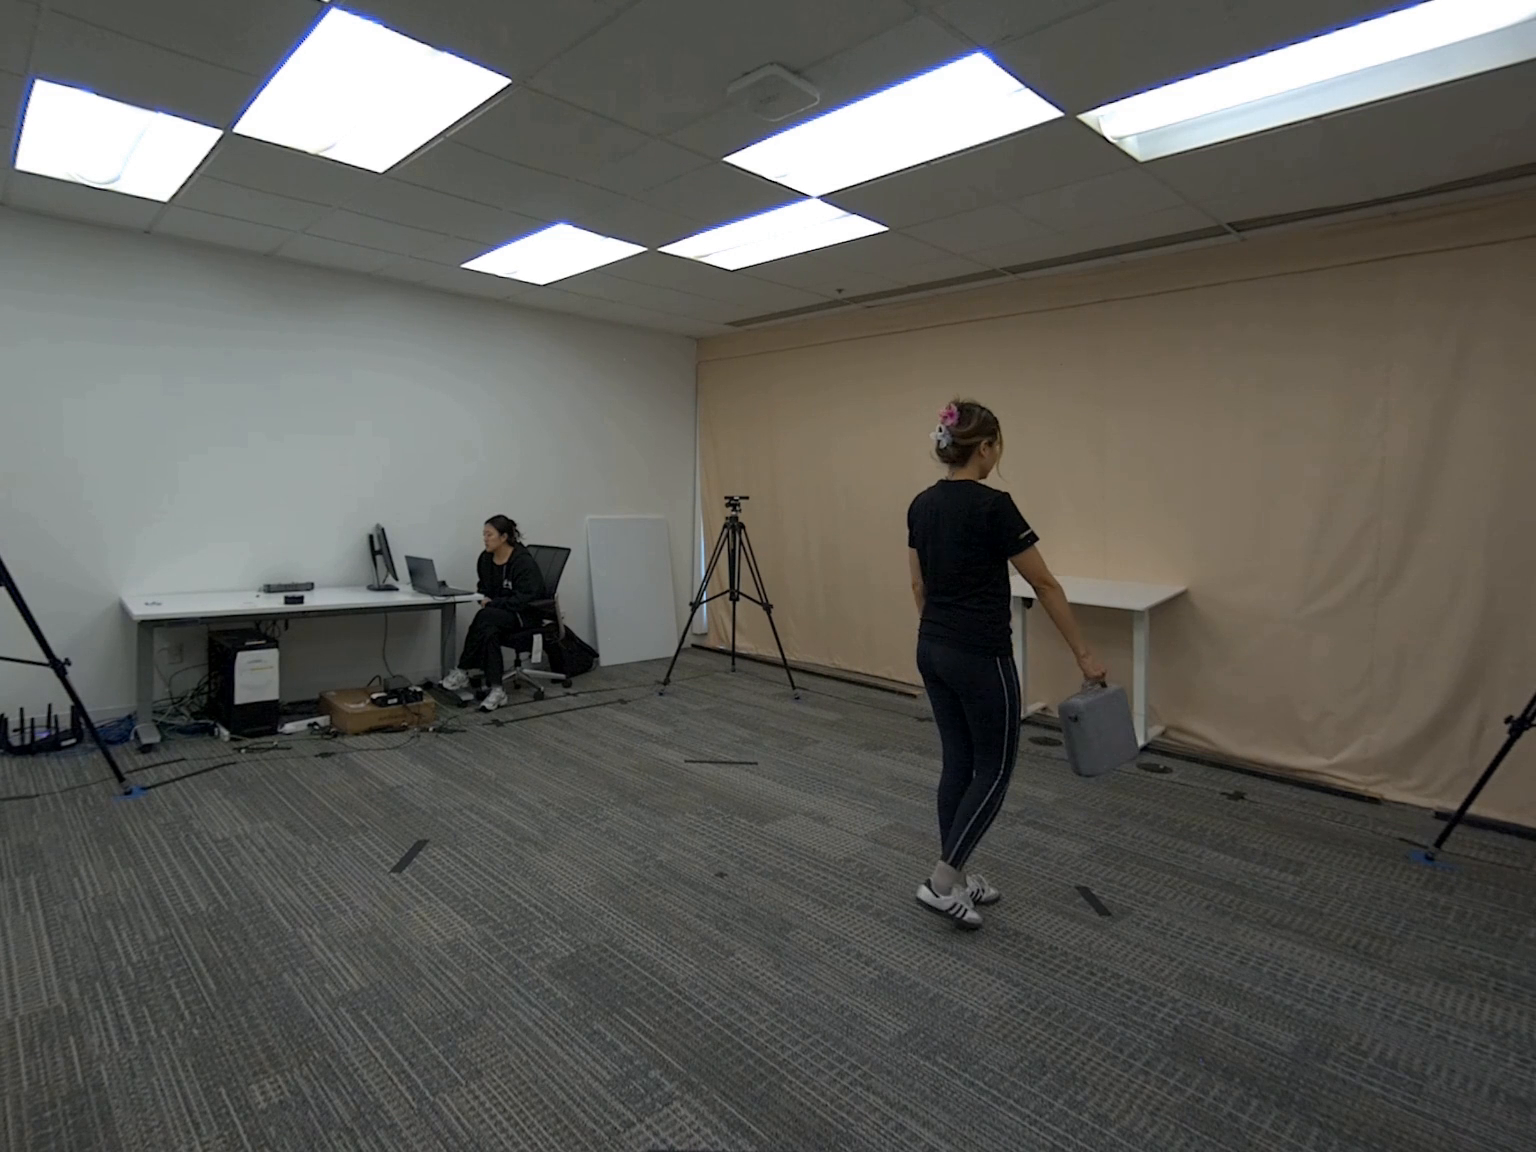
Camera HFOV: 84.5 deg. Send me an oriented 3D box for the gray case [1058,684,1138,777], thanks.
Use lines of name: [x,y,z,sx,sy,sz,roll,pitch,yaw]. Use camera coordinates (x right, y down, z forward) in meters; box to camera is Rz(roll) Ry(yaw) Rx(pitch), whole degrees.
gray case: [1.070,0.498,2.754,0.253,0.260,0.106,-12,2,-28]
